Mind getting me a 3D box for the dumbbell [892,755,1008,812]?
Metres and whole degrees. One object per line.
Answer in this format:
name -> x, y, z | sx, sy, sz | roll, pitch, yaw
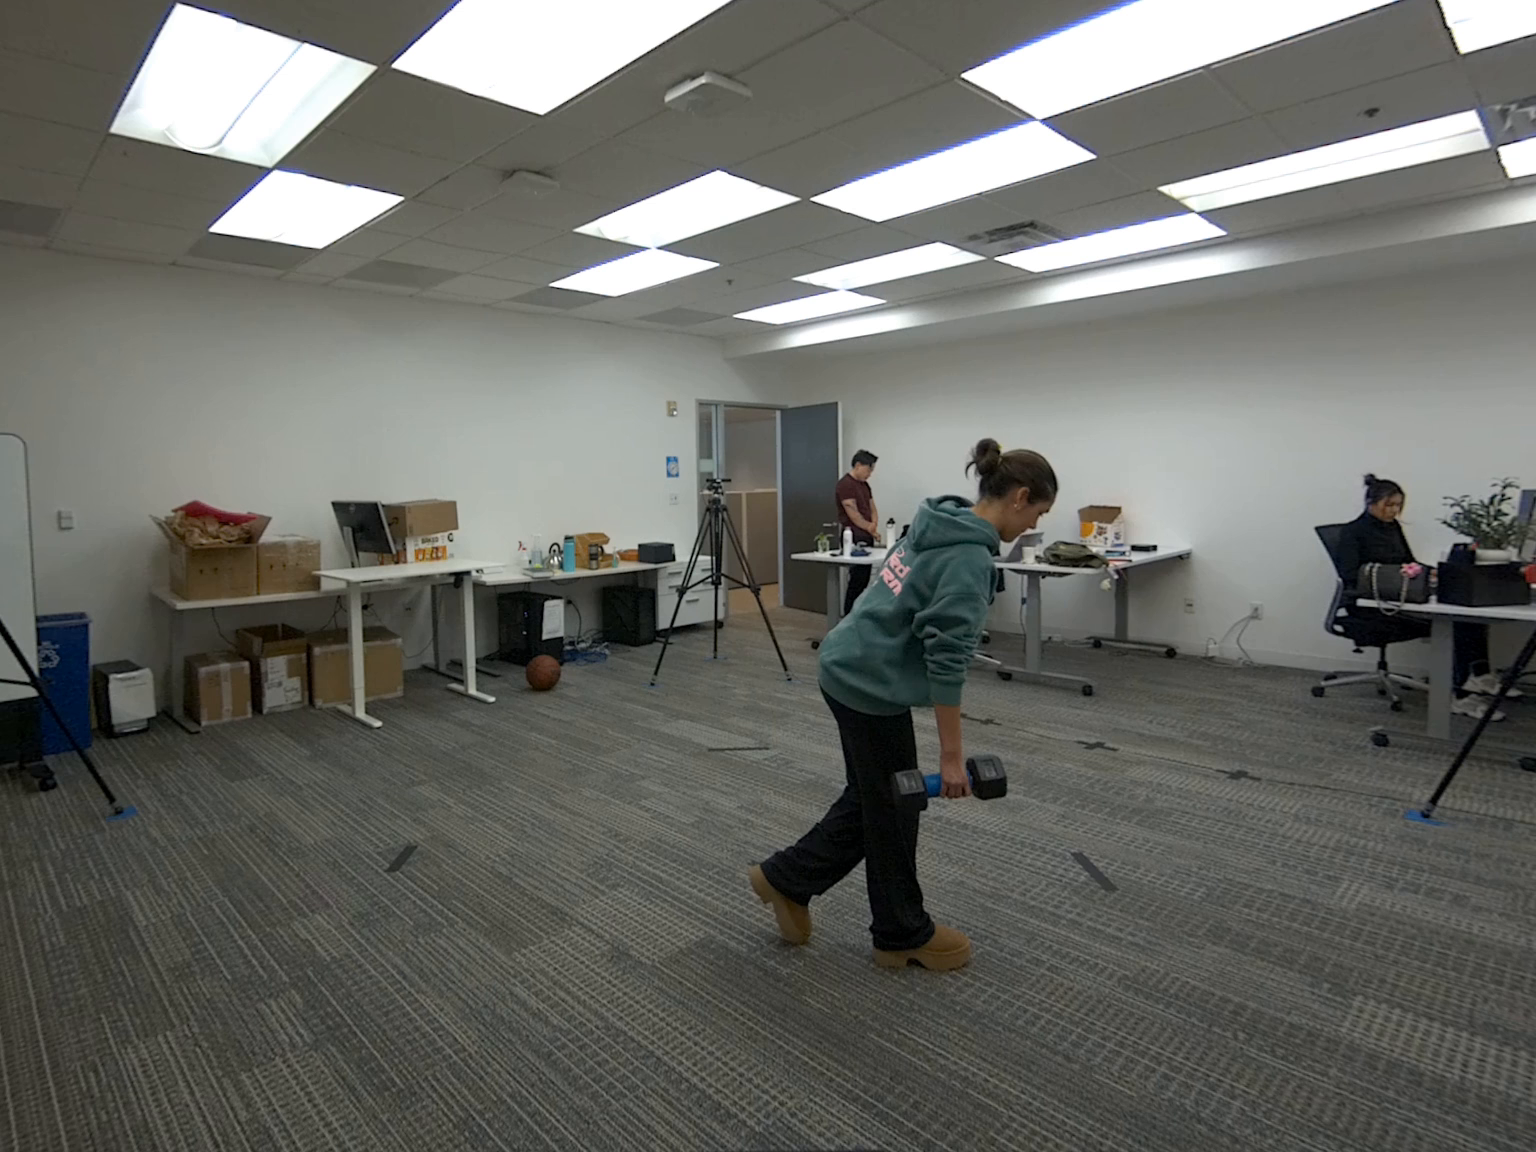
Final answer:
dumbbell -> 0.486, 0.560, 2.258 | 0.293, 0.120, 0.111 | -9, 21, -1
